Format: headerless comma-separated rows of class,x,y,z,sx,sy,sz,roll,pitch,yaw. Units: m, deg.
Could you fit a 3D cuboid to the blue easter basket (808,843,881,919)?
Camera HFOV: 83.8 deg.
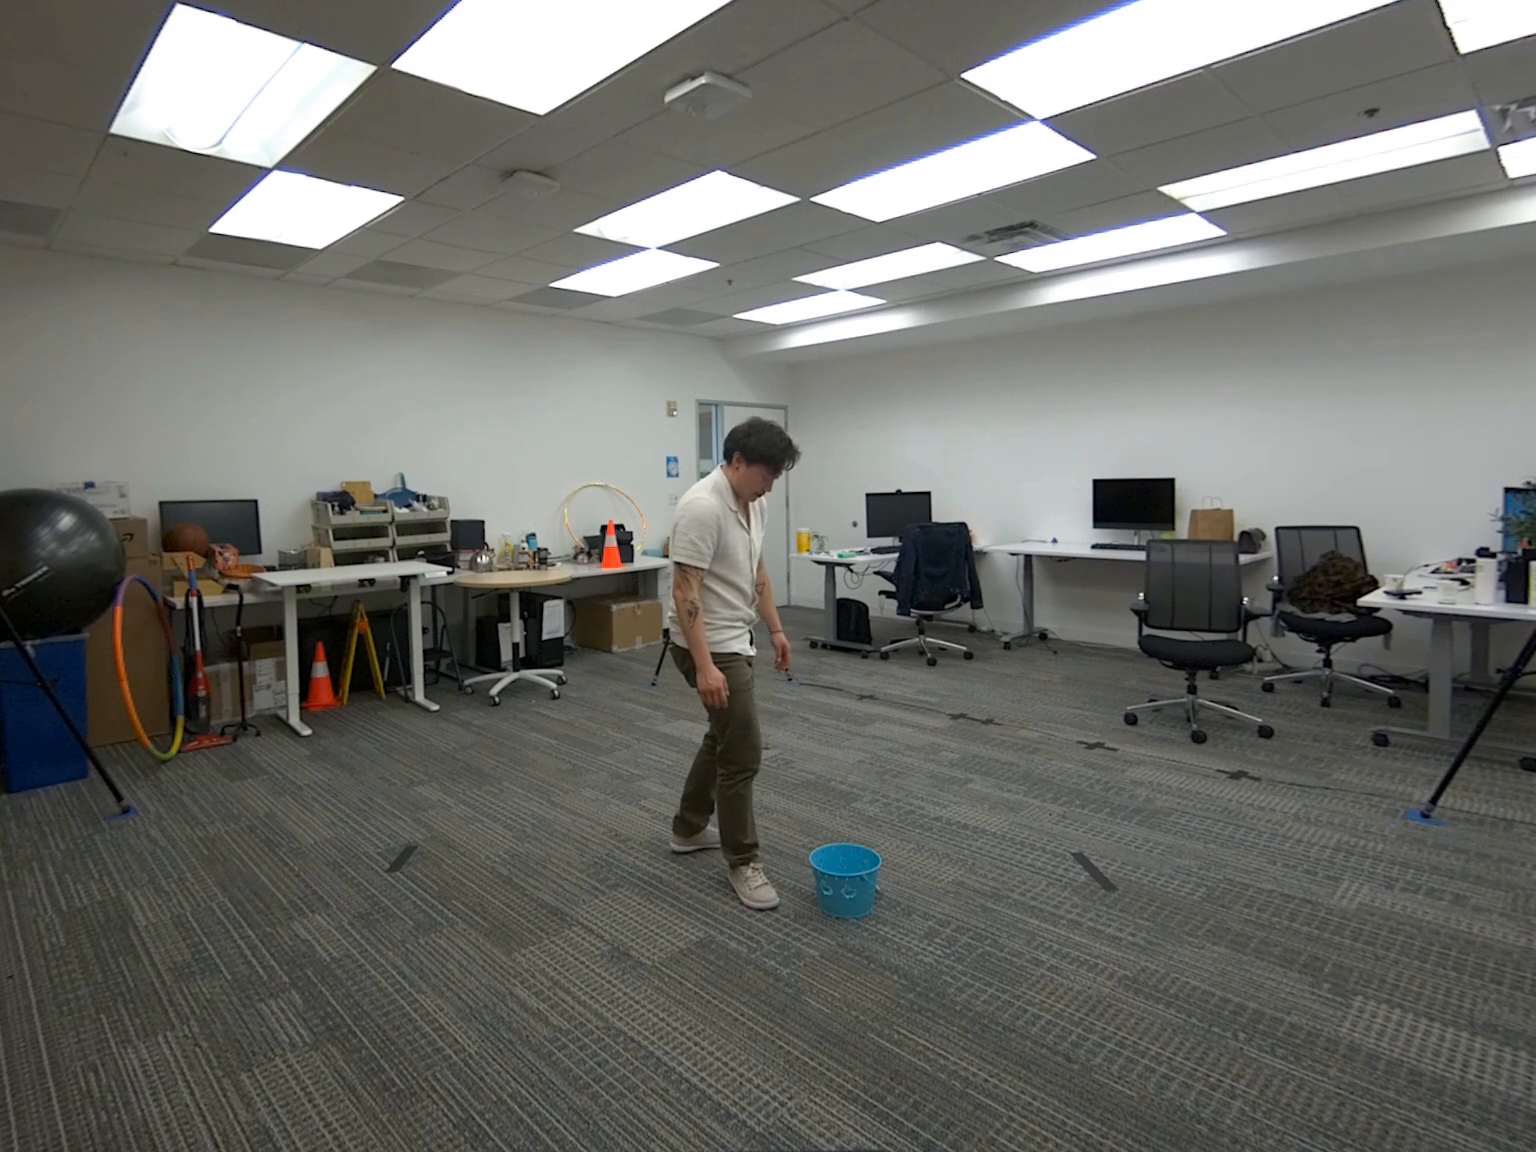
blue easter basket,0.261,0.994,2.796,0.243,0.155,0.245,-2,6,-2
